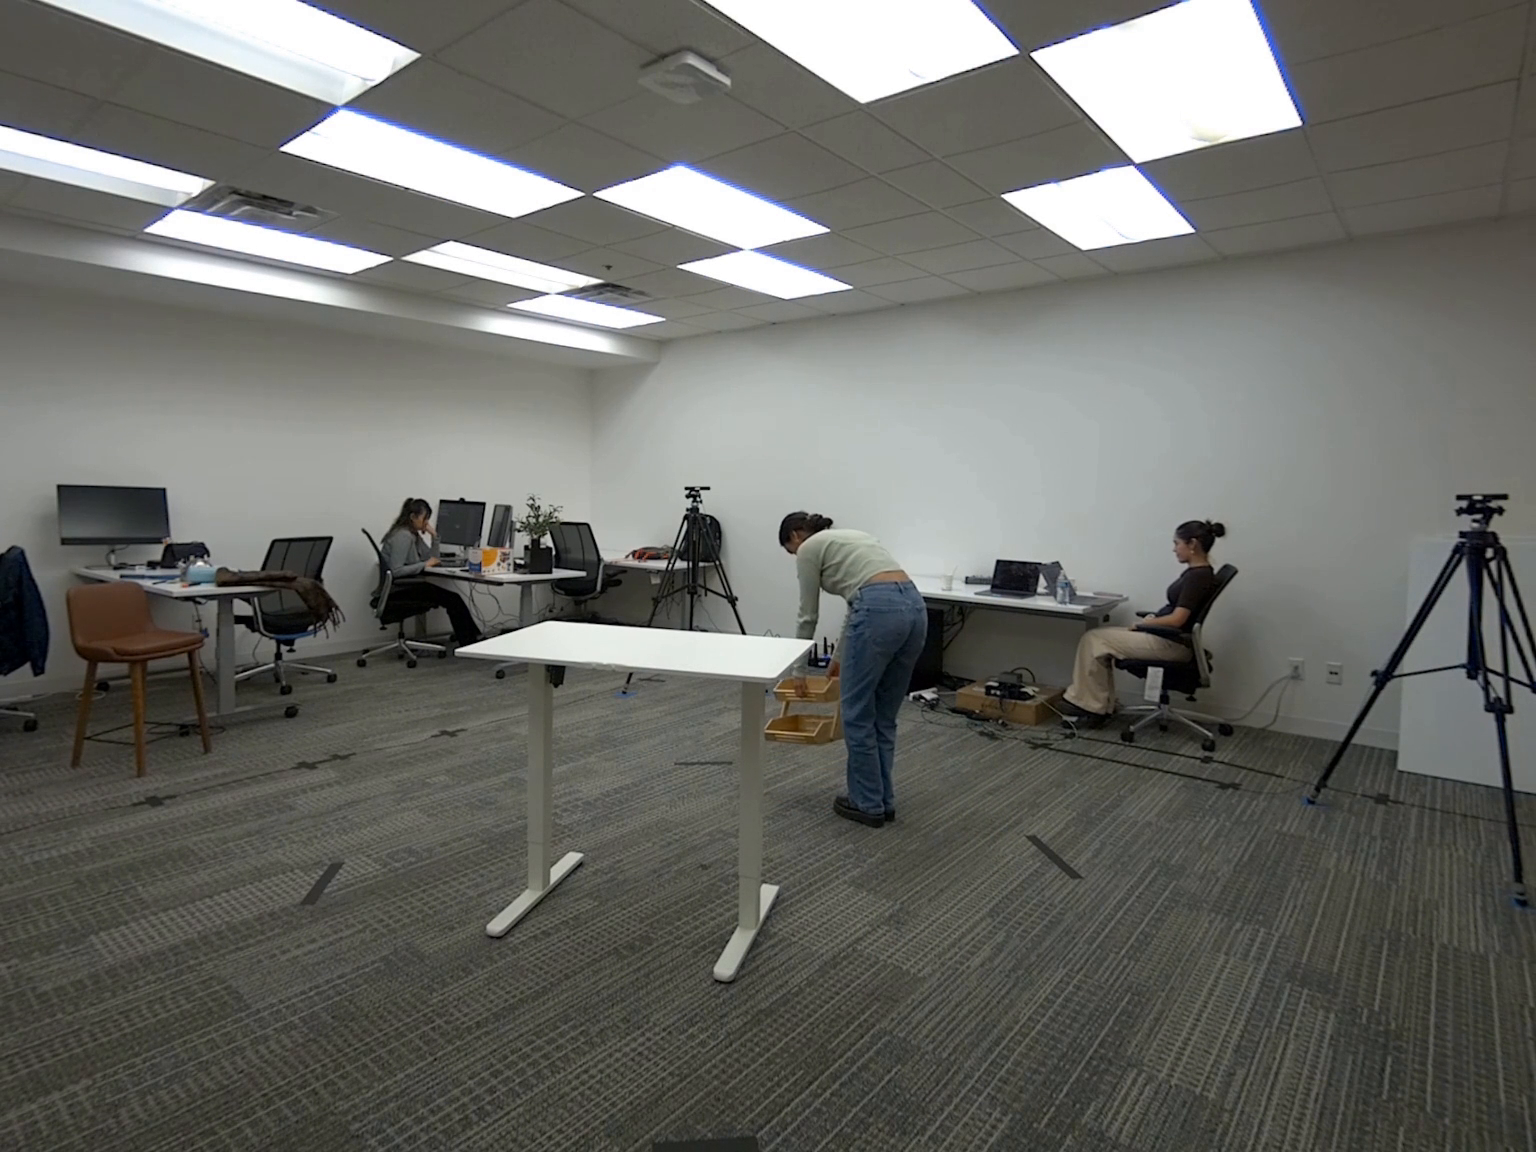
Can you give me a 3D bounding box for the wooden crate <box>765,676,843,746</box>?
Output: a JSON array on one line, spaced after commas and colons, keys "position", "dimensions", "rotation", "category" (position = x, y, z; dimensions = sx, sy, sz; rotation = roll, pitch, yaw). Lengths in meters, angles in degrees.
[{"position": [0.168, 0.593, 3.840], "dimensions": [0.333, 0.274, 0.292], "rotation": [-6, -4, 43], "category": "wooden crate"}]
